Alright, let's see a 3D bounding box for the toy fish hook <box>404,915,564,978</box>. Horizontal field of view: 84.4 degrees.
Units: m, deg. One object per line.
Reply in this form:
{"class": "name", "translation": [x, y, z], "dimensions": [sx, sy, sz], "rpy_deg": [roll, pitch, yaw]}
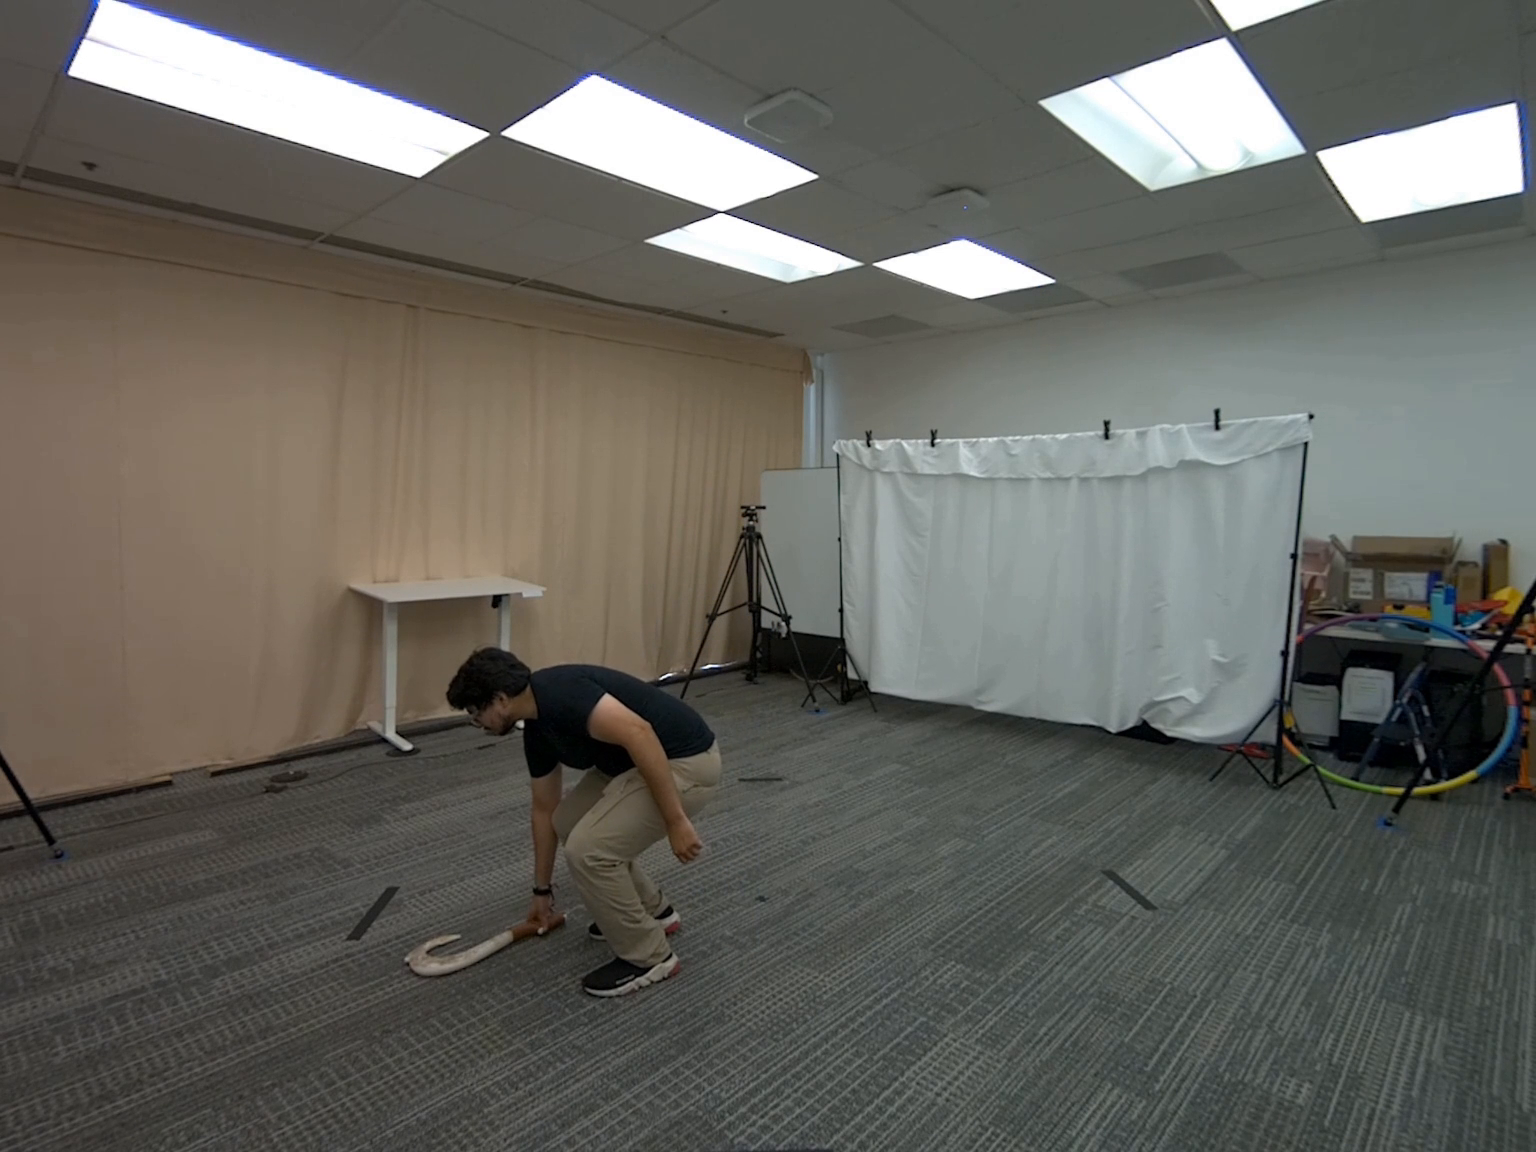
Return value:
{"class": "toy fish hook", "translation": [-0.895, 1.158, 2.687], "dimensions": [0.491, 0.048, 0.232], "rpy_deg": [-3, 6, -40]}
